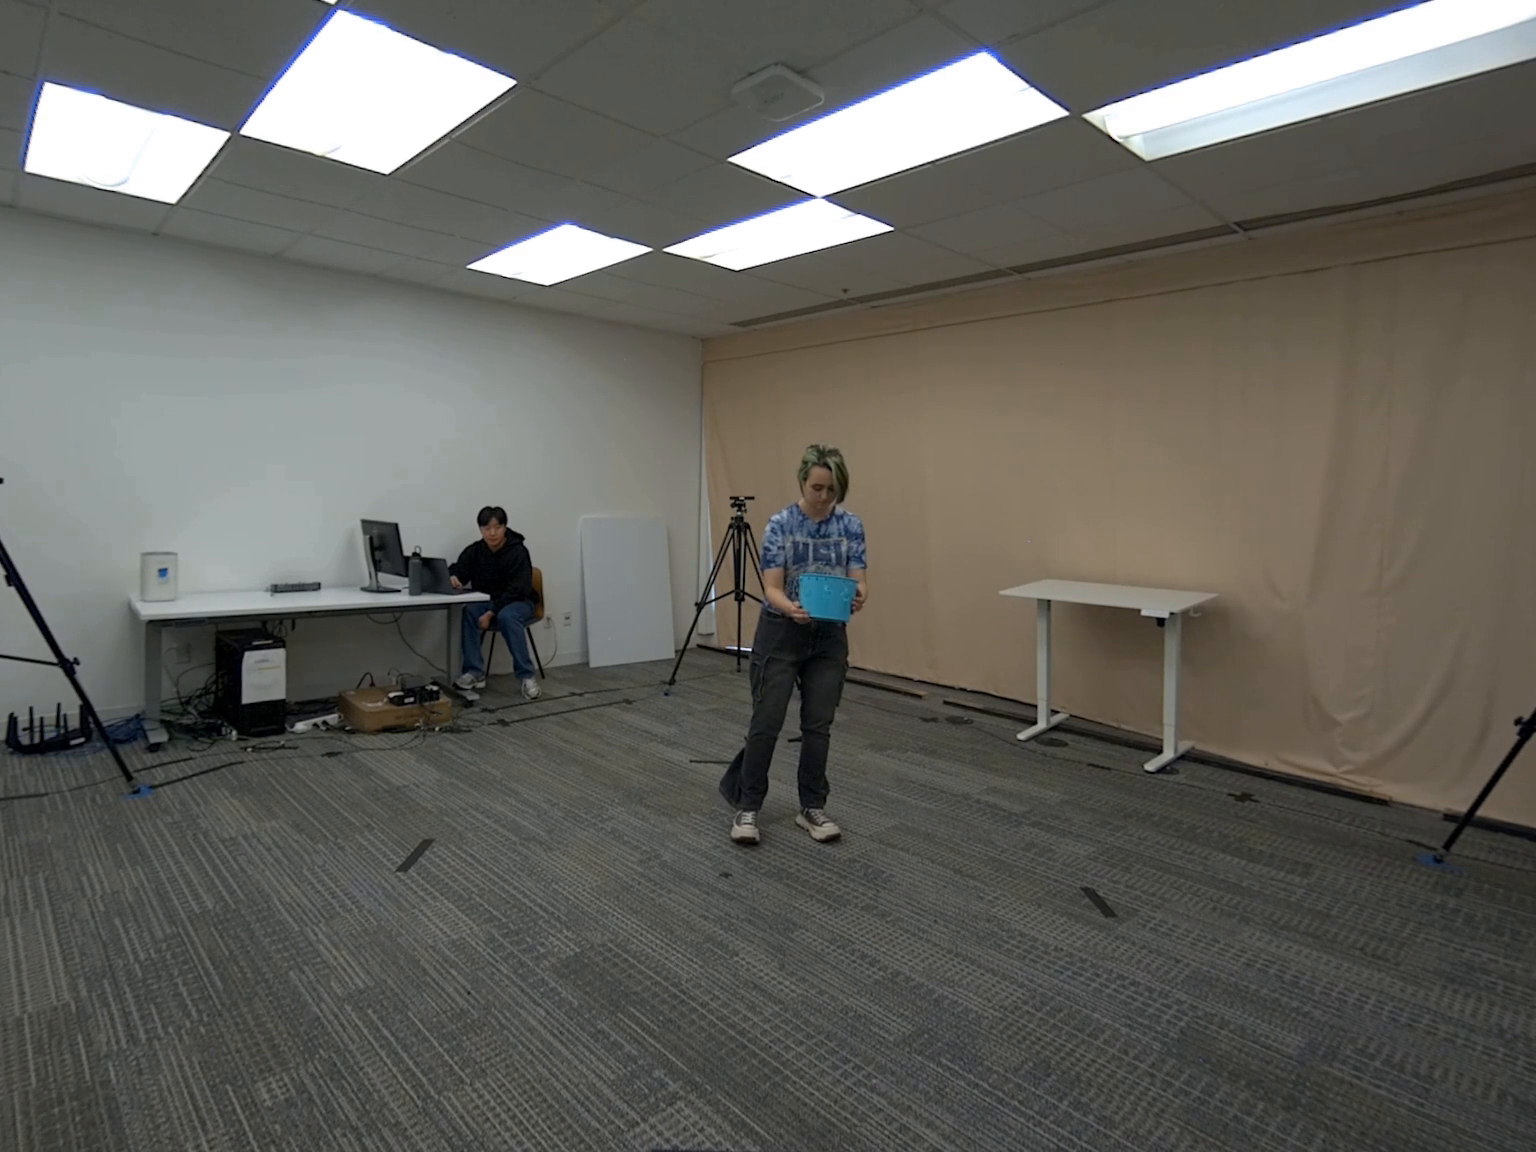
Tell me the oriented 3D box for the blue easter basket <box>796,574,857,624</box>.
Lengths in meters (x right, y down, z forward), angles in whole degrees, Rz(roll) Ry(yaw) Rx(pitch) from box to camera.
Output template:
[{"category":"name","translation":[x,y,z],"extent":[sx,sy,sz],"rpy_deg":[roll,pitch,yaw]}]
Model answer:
[{"category":"blue easter basket","translation":[0.203,0.093,3.117],"extent":[0.243,0.156,0.242],"rpy_deg":[6,-6,-1]}]
